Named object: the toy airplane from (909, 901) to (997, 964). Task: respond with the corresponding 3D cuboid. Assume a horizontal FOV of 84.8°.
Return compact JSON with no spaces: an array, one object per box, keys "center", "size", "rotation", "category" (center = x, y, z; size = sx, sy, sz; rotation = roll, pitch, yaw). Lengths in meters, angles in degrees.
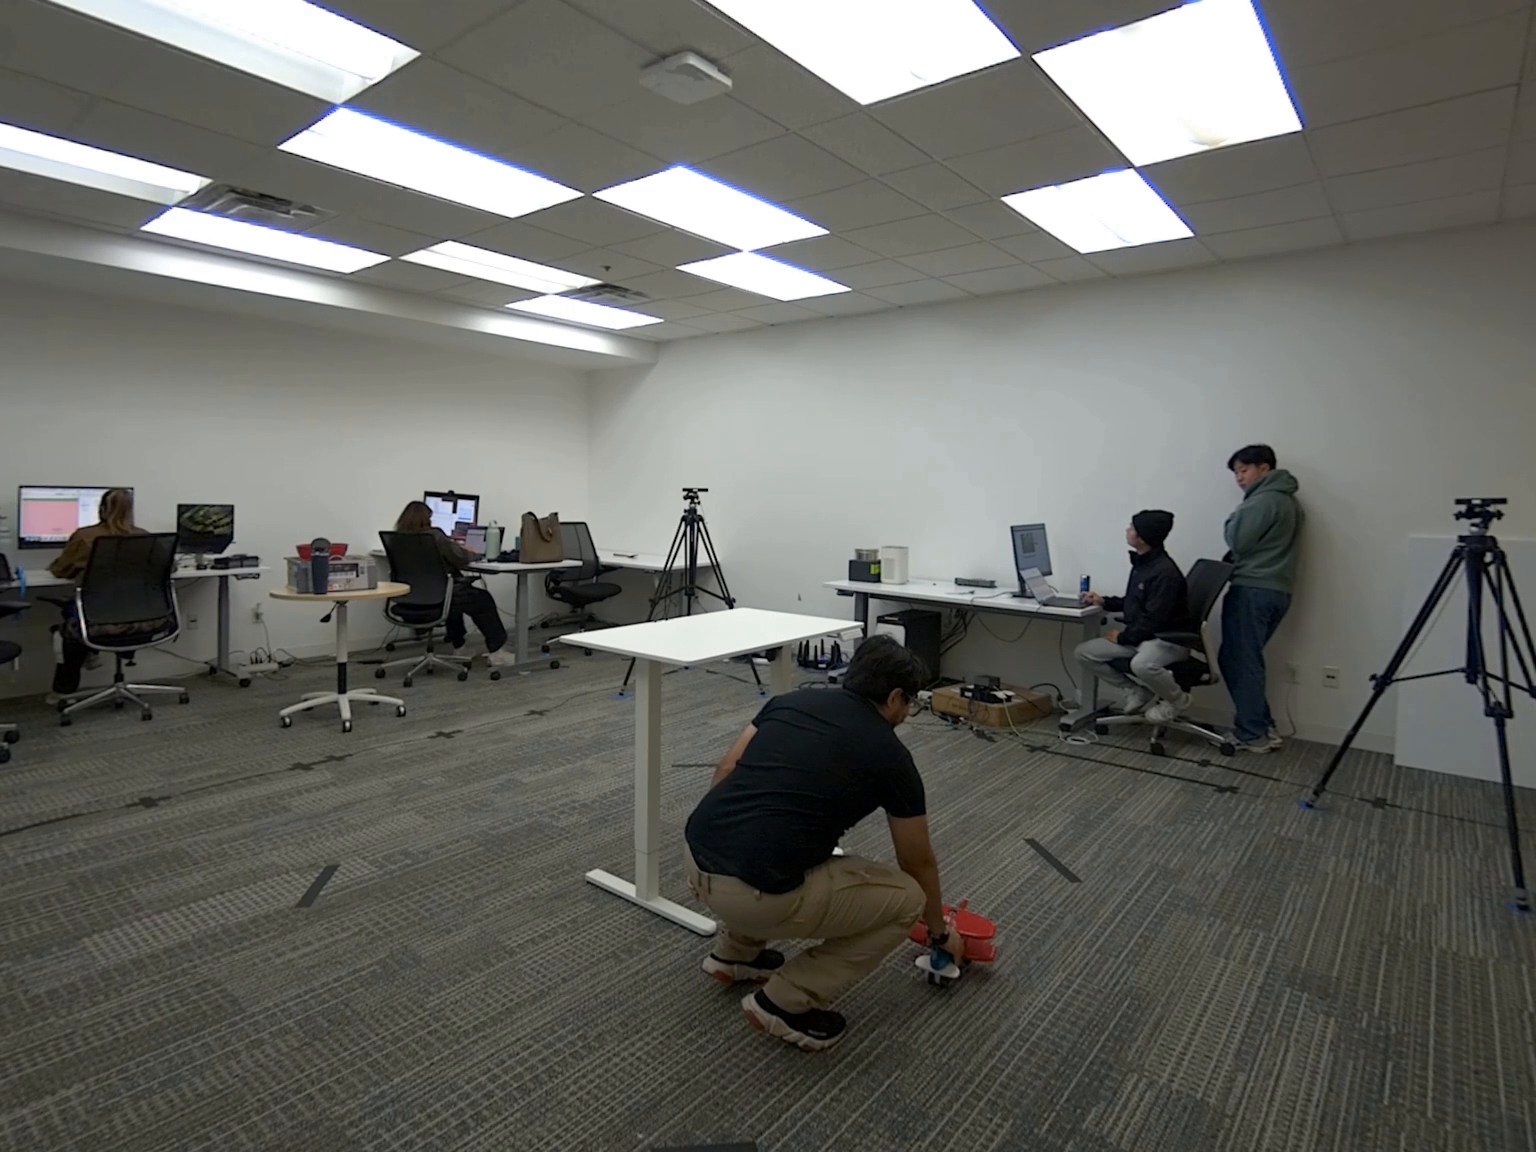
[{"center":[0.539,1.078,2.475],"size":[0.251,0.156,0.260],"rotation":[2,4,0],"category":"toy airplane"}]
